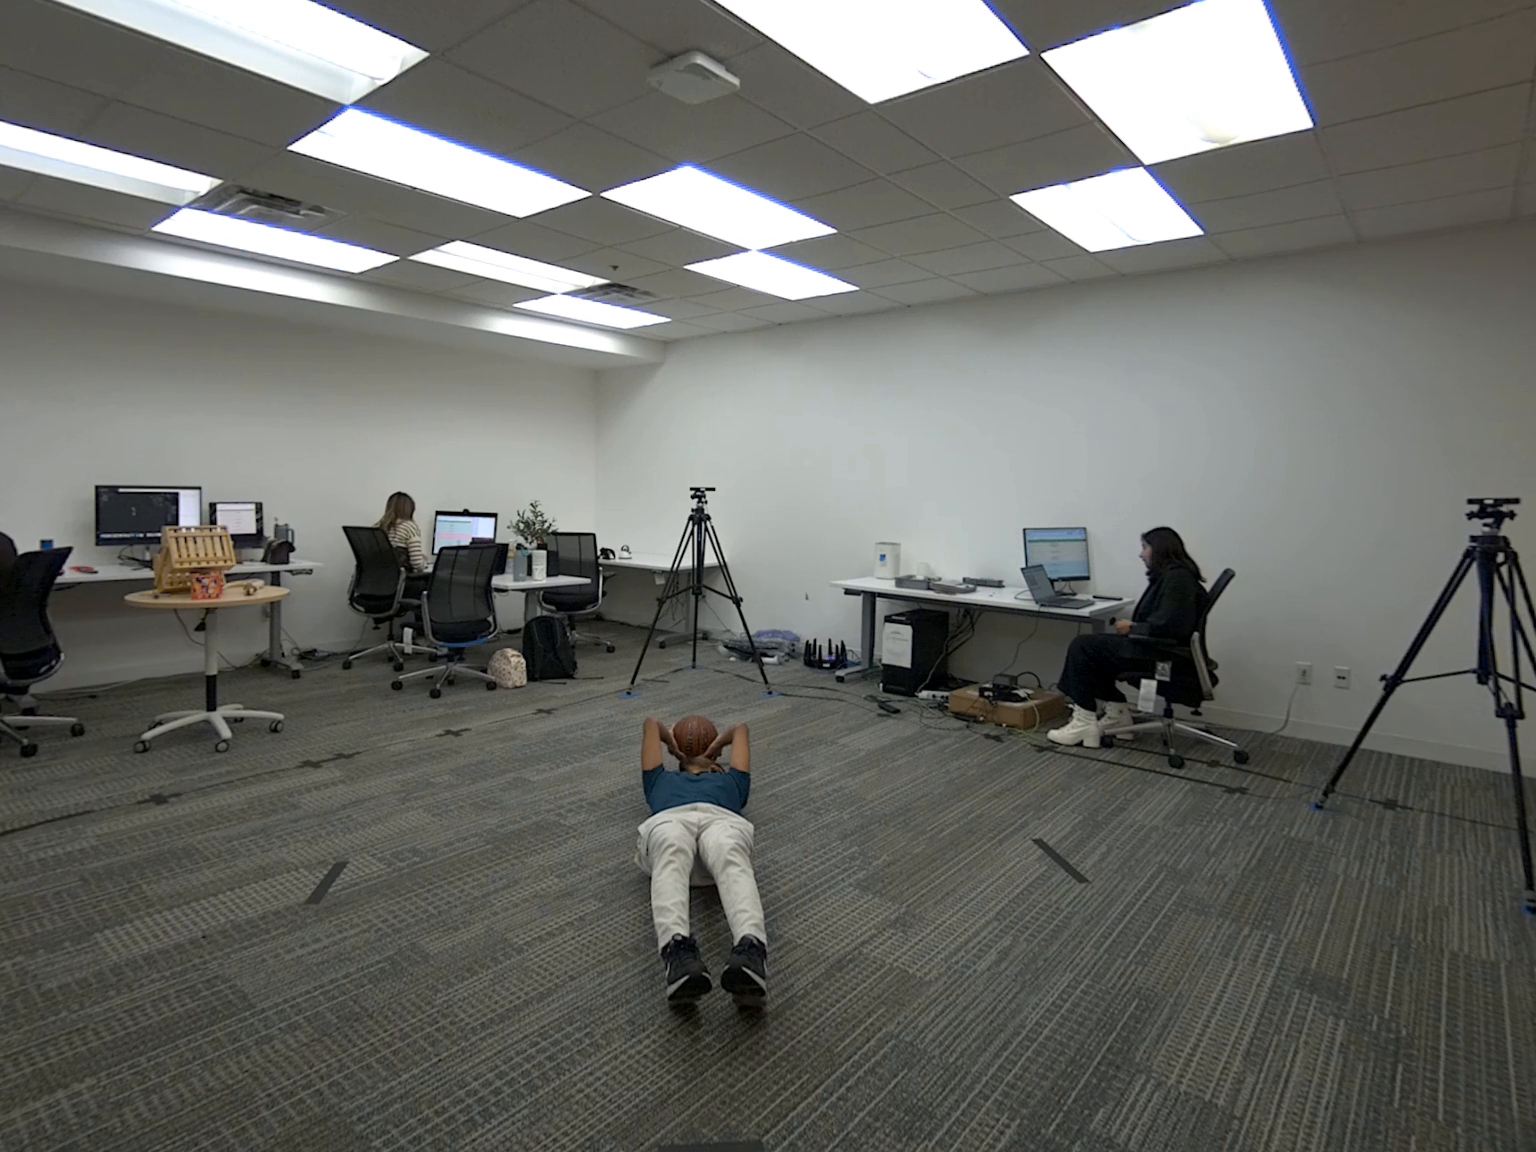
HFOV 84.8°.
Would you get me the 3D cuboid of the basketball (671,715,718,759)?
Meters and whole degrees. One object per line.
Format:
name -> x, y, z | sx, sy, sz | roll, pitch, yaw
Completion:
basketball -> -0.370, 0.787, 4.131 | 0.235, 0.235, 0.237 | 1, 4, -2
